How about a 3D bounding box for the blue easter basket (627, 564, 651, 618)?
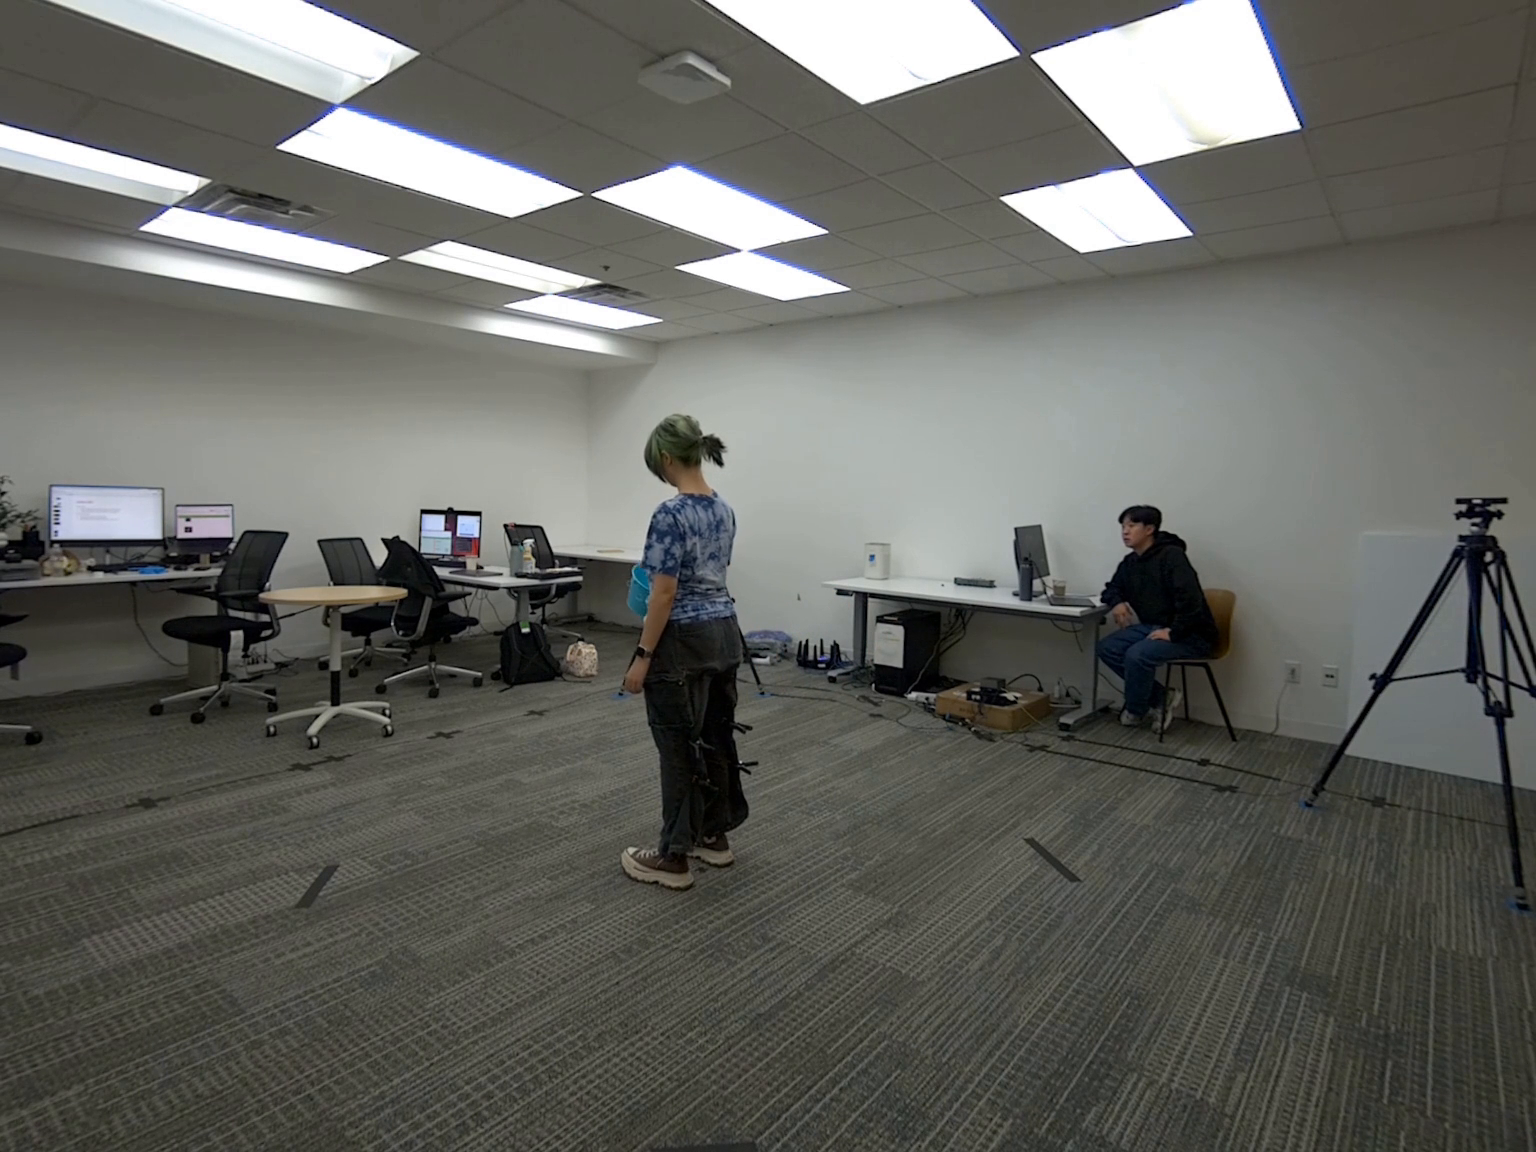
[{"bbox_3d":[-0.497,0.073,3.677,0.240,0.154,0.250,17,29,-12],"label":"blue easter basket"}]
